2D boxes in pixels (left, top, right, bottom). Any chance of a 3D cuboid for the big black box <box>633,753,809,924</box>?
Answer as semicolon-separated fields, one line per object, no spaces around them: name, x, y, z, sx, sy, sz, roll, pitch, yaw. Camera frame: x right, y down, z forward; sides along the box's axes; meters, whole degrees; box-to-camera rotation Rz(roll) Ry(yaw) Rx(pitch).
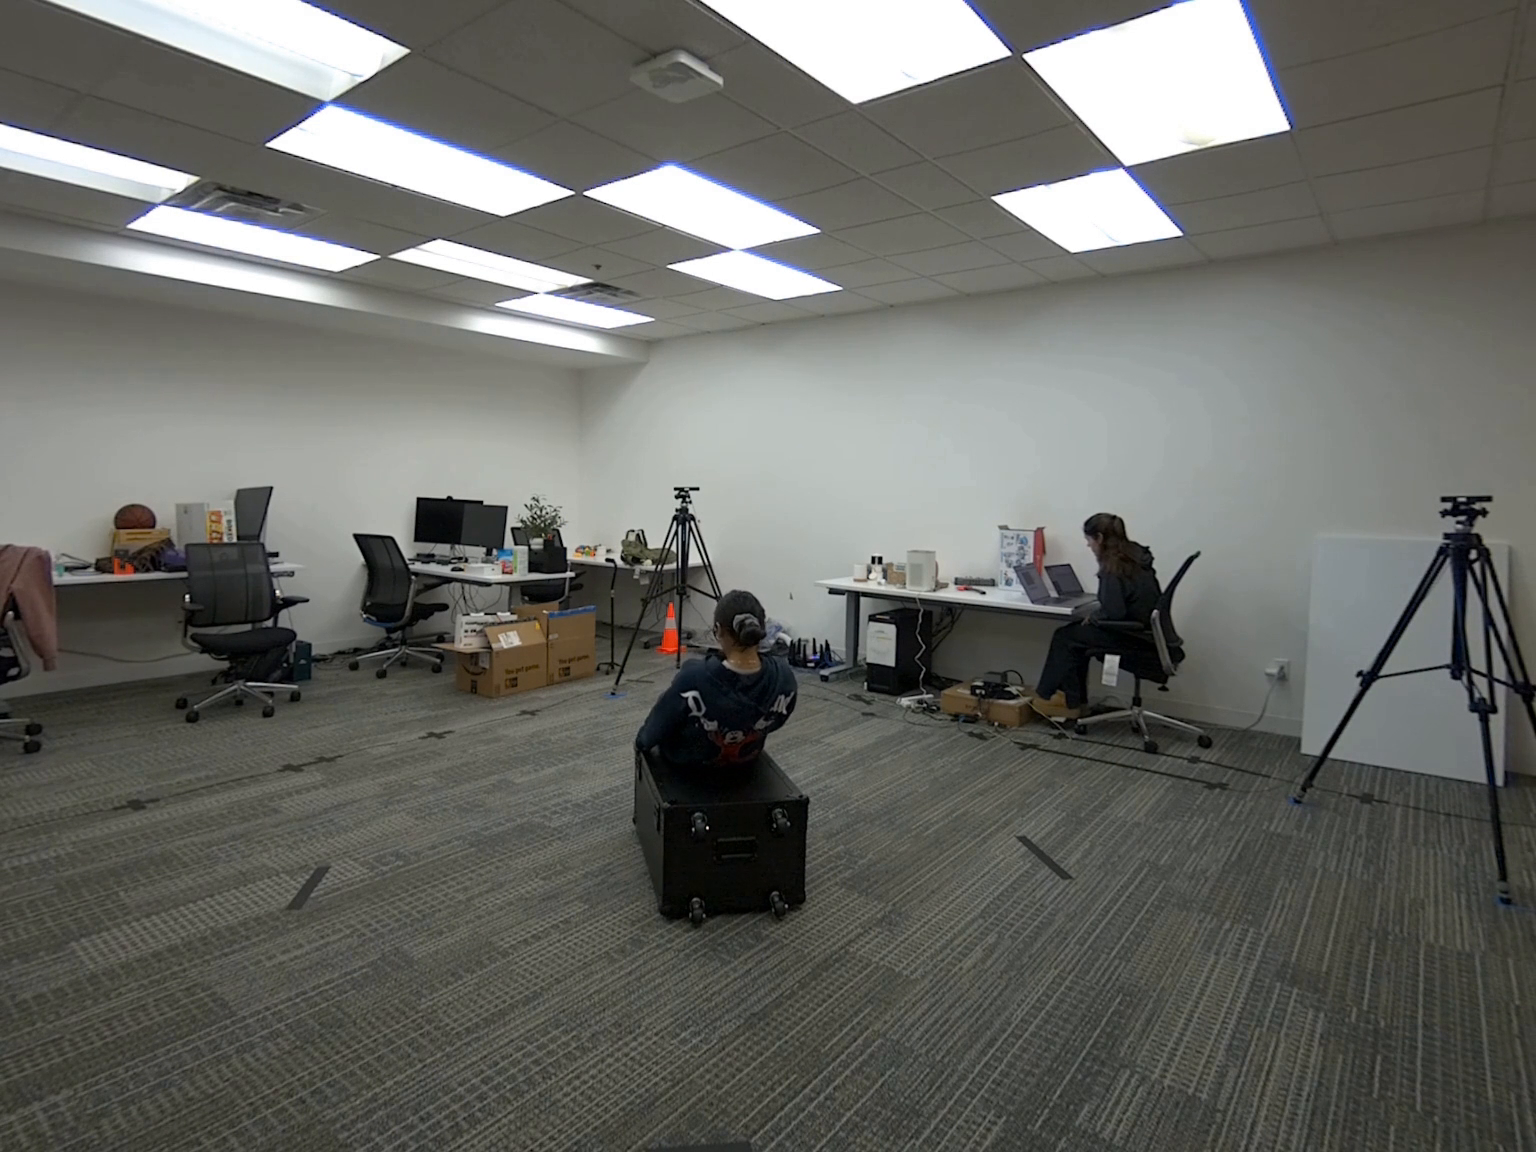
big black box;-0.209;0.874;3.090;0.513;0.395;0.877;0;4;-15
